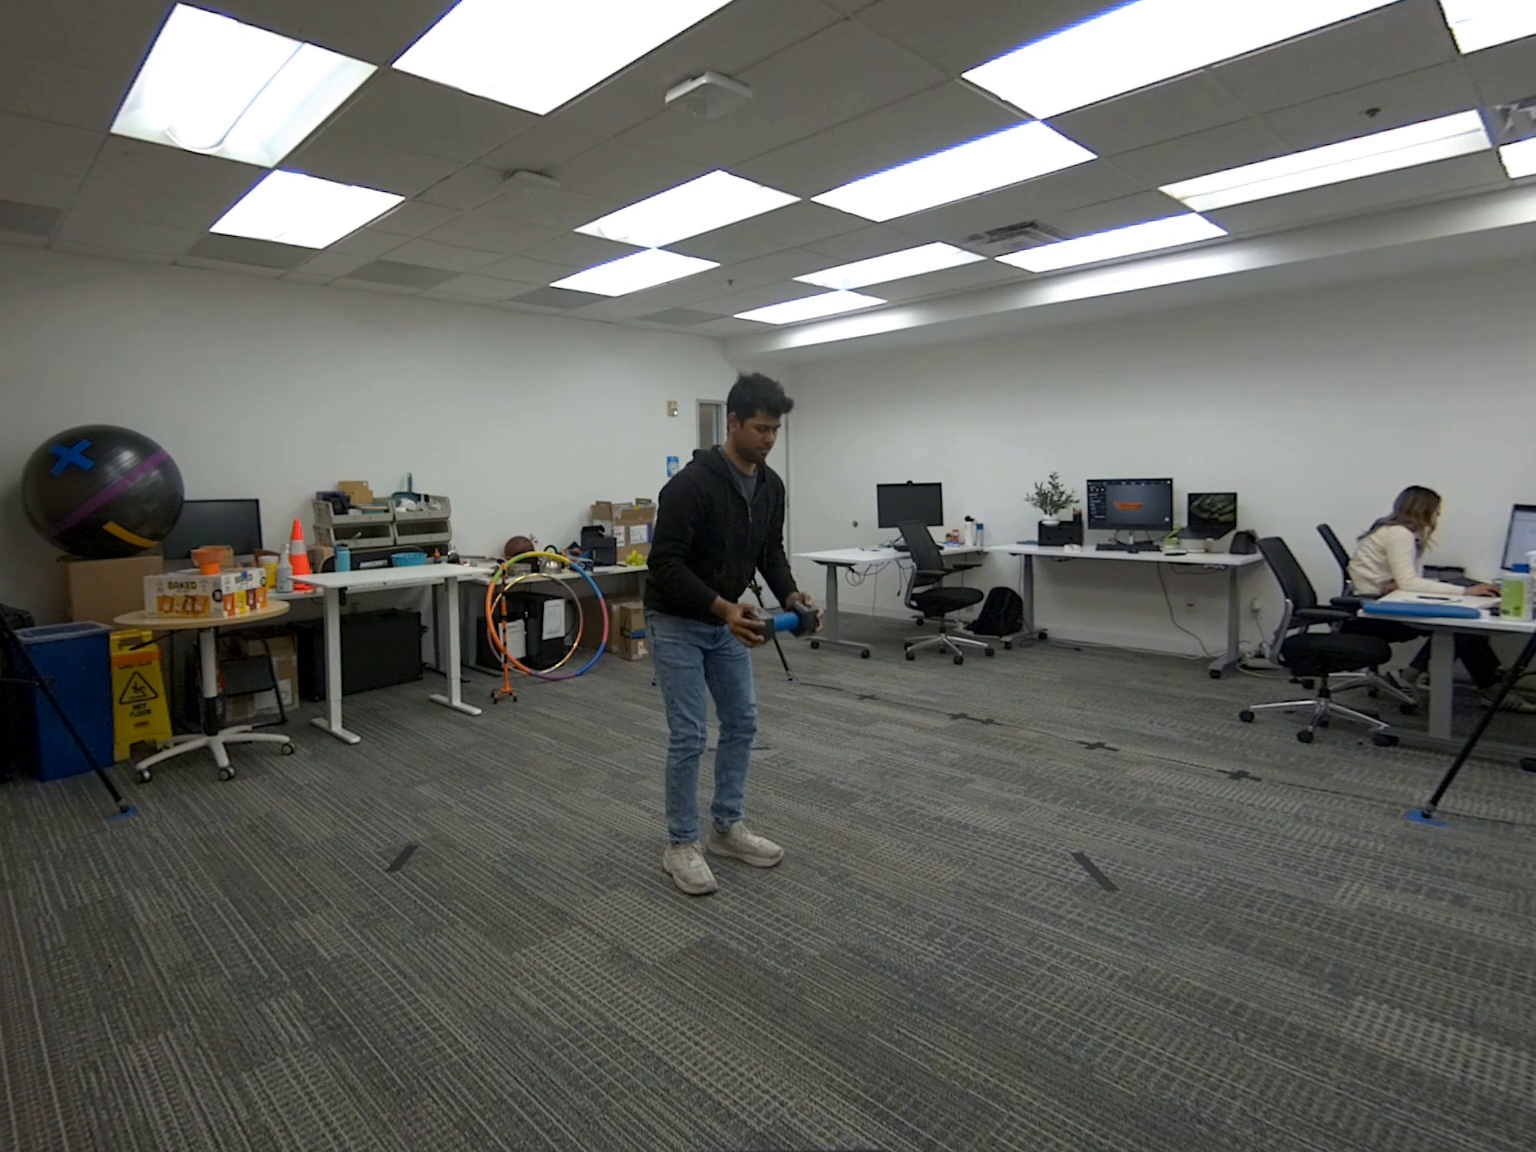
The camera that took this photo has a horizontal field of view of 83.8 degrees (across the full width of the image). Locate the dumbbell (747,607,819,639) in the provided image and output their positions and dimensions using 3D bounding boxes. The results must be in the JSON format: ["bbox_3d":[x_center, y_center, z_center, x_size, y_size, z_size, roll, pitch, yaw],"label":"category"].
[{"bbox_3d":[0.037,0.173,2.830,0.286,0.107,0.128,-7,31,-41],"label":"dumbbell"}]
